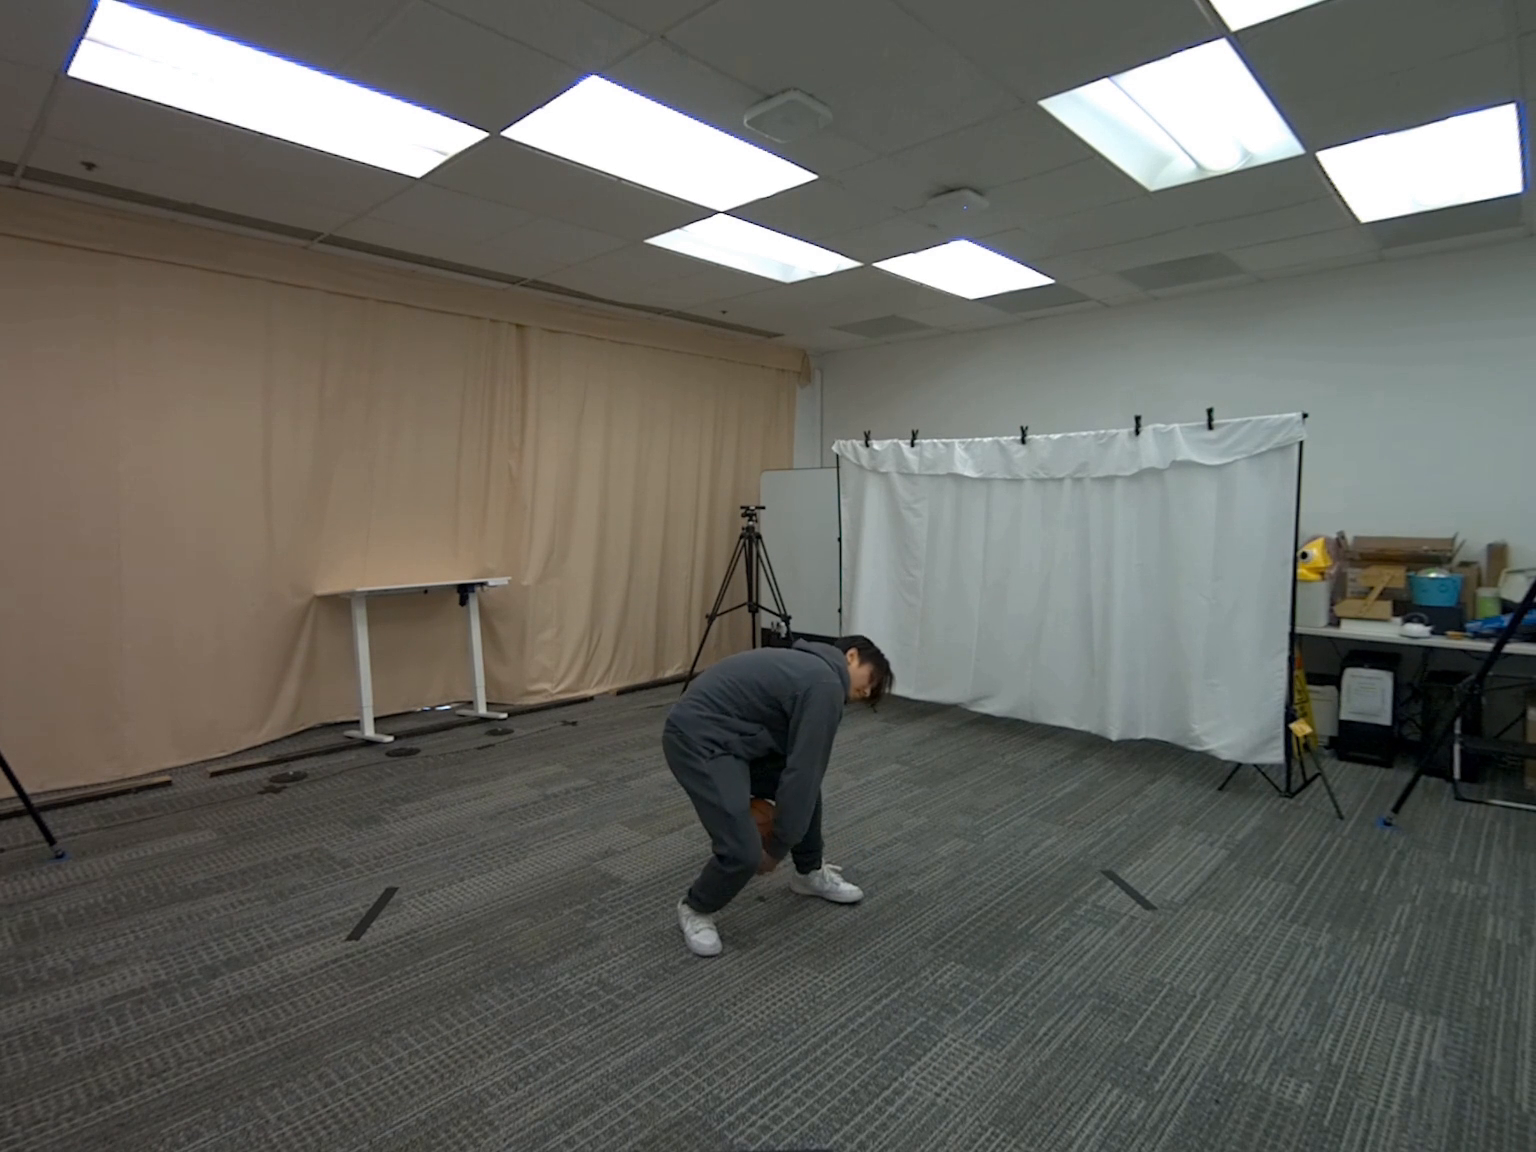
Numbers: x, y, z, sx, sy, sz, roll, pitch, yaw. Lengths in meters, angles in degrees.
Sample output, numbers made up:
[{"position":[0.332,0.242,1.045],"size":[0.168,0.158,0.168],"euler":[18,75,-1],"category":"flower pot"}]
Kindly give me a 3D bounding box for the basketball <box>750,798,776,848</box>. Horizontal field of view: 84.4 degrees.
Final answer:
[{"position":[-0.052,0.856,2.826],"size":[0.236,0.235,0.237],"euler":[0,4,-2],"category":"basketball"}]
